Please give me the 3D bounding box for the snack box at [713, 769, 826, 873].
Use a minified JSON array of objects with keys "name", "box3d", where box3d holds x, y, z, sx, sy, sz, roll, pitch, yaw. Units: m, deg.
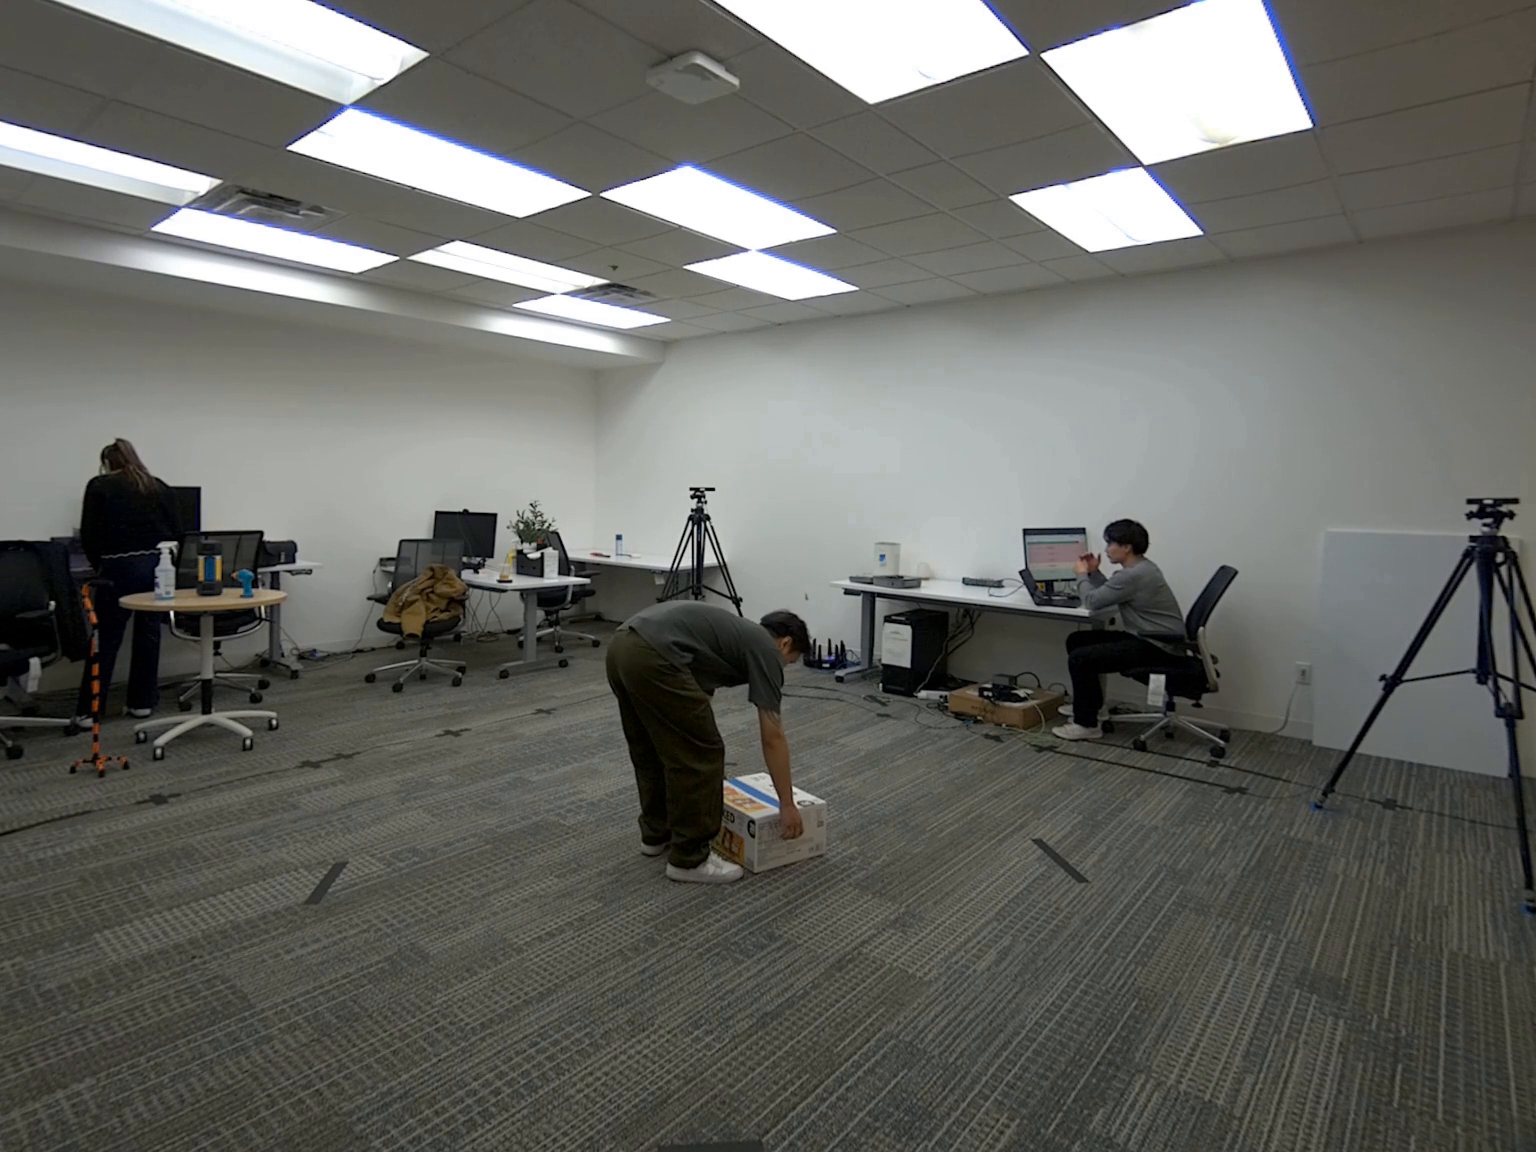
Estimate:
[{"name":"snack box","box3d":[-0.041,0.946,3.311,0.330,0.205,0.418,-2,6,-35]}]
